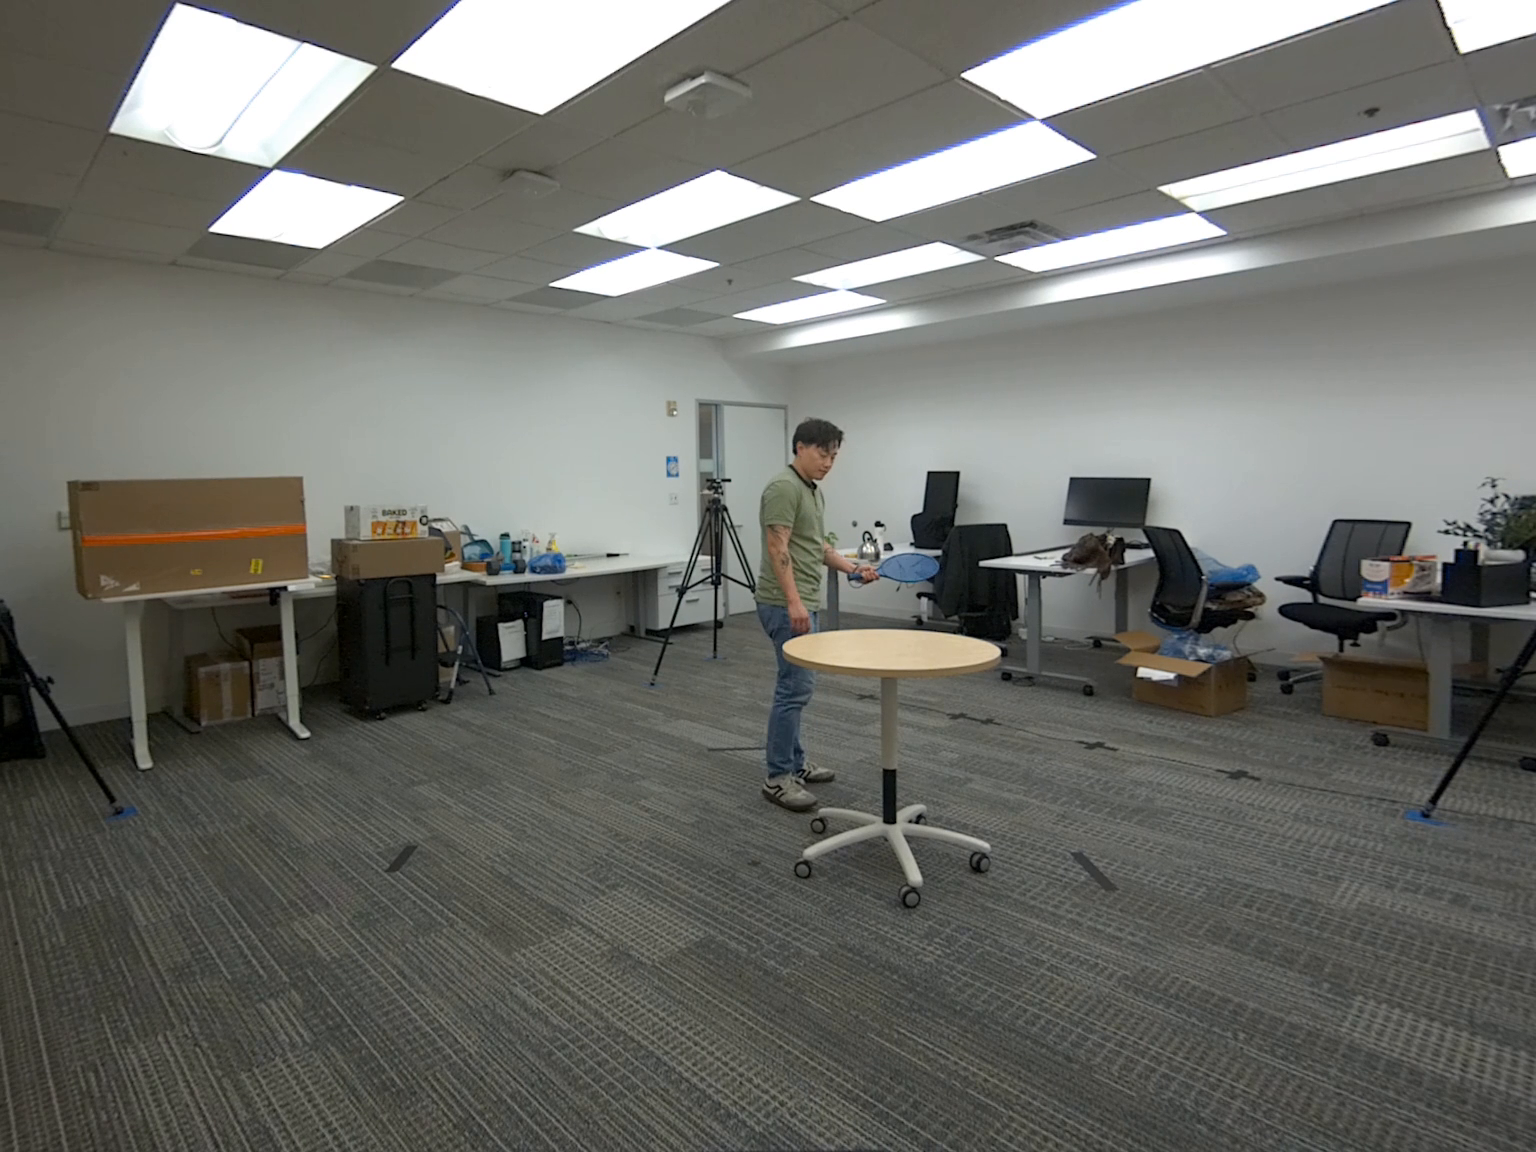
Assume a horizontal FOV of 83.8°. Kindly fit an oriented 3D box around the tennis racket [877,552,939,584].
[{"bbox_3d":[0.585,-0.019,3.956,0.428,0.031,0.222,-13,39,-14],"label":"tennis racket"}]
